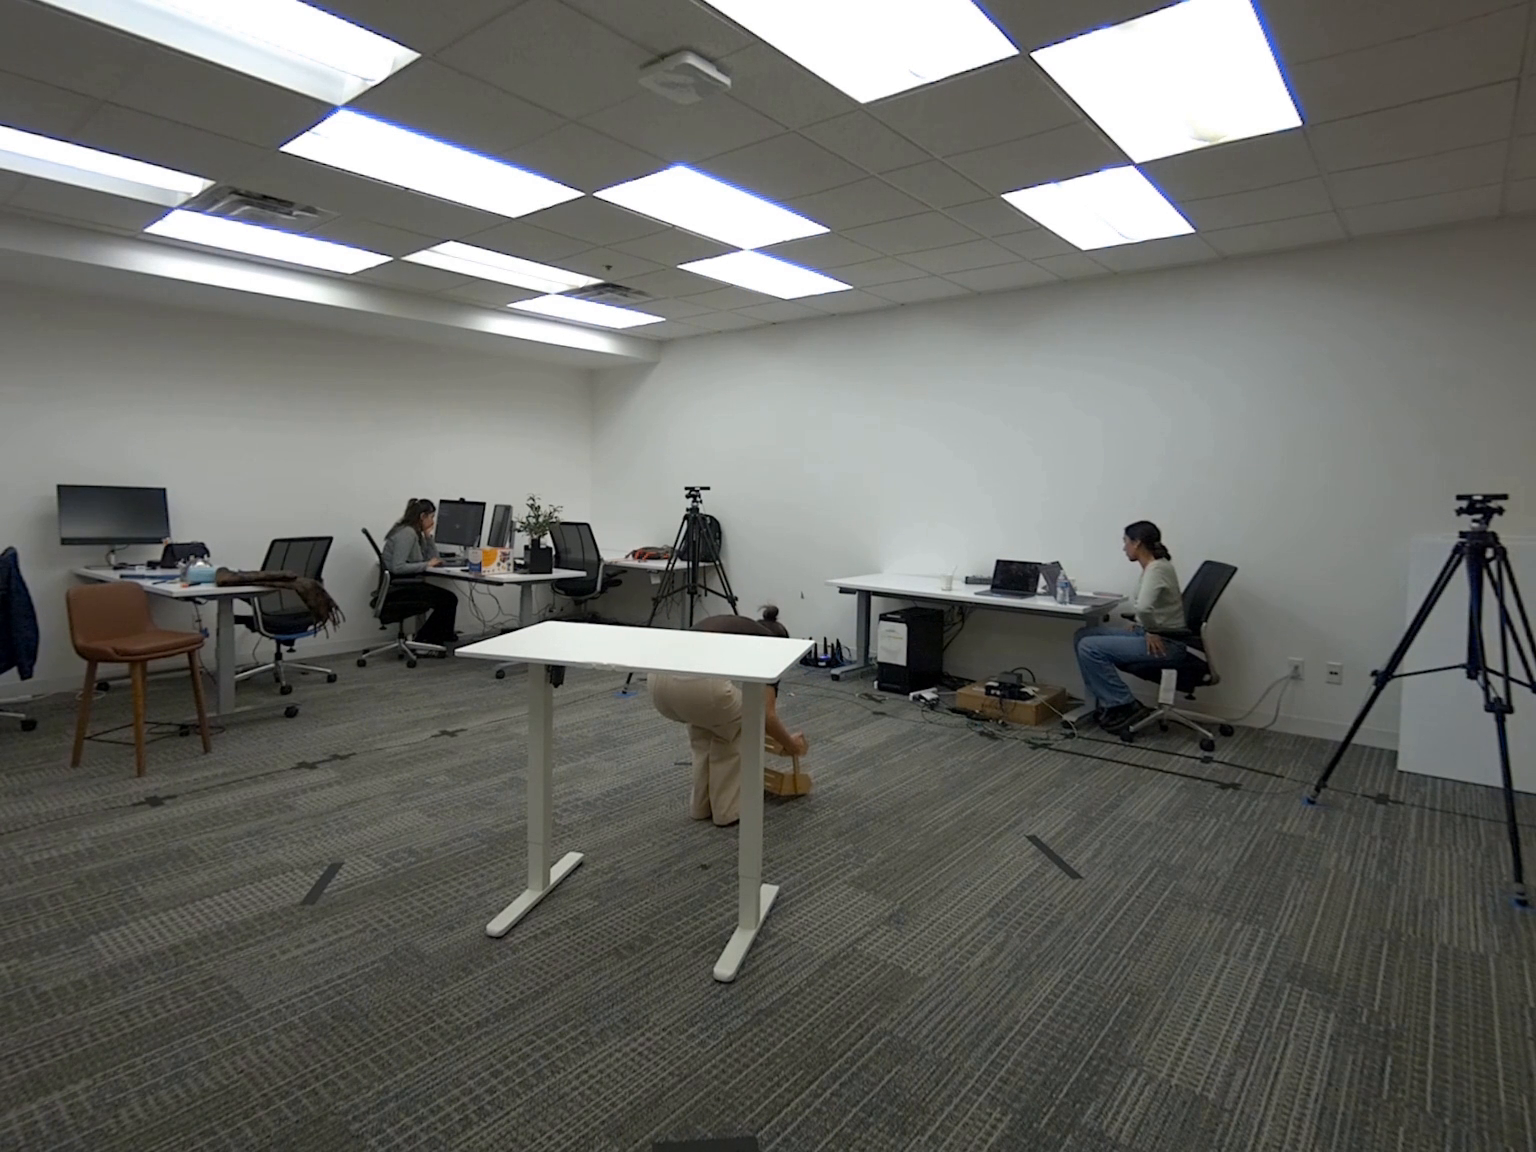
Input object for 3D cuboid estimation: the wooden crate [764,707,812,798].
[{"bbox_3d":[0.008,0.820,3.890,0.335,0.274,0.291,7,-5,37],"label":"wooden crate"}]
